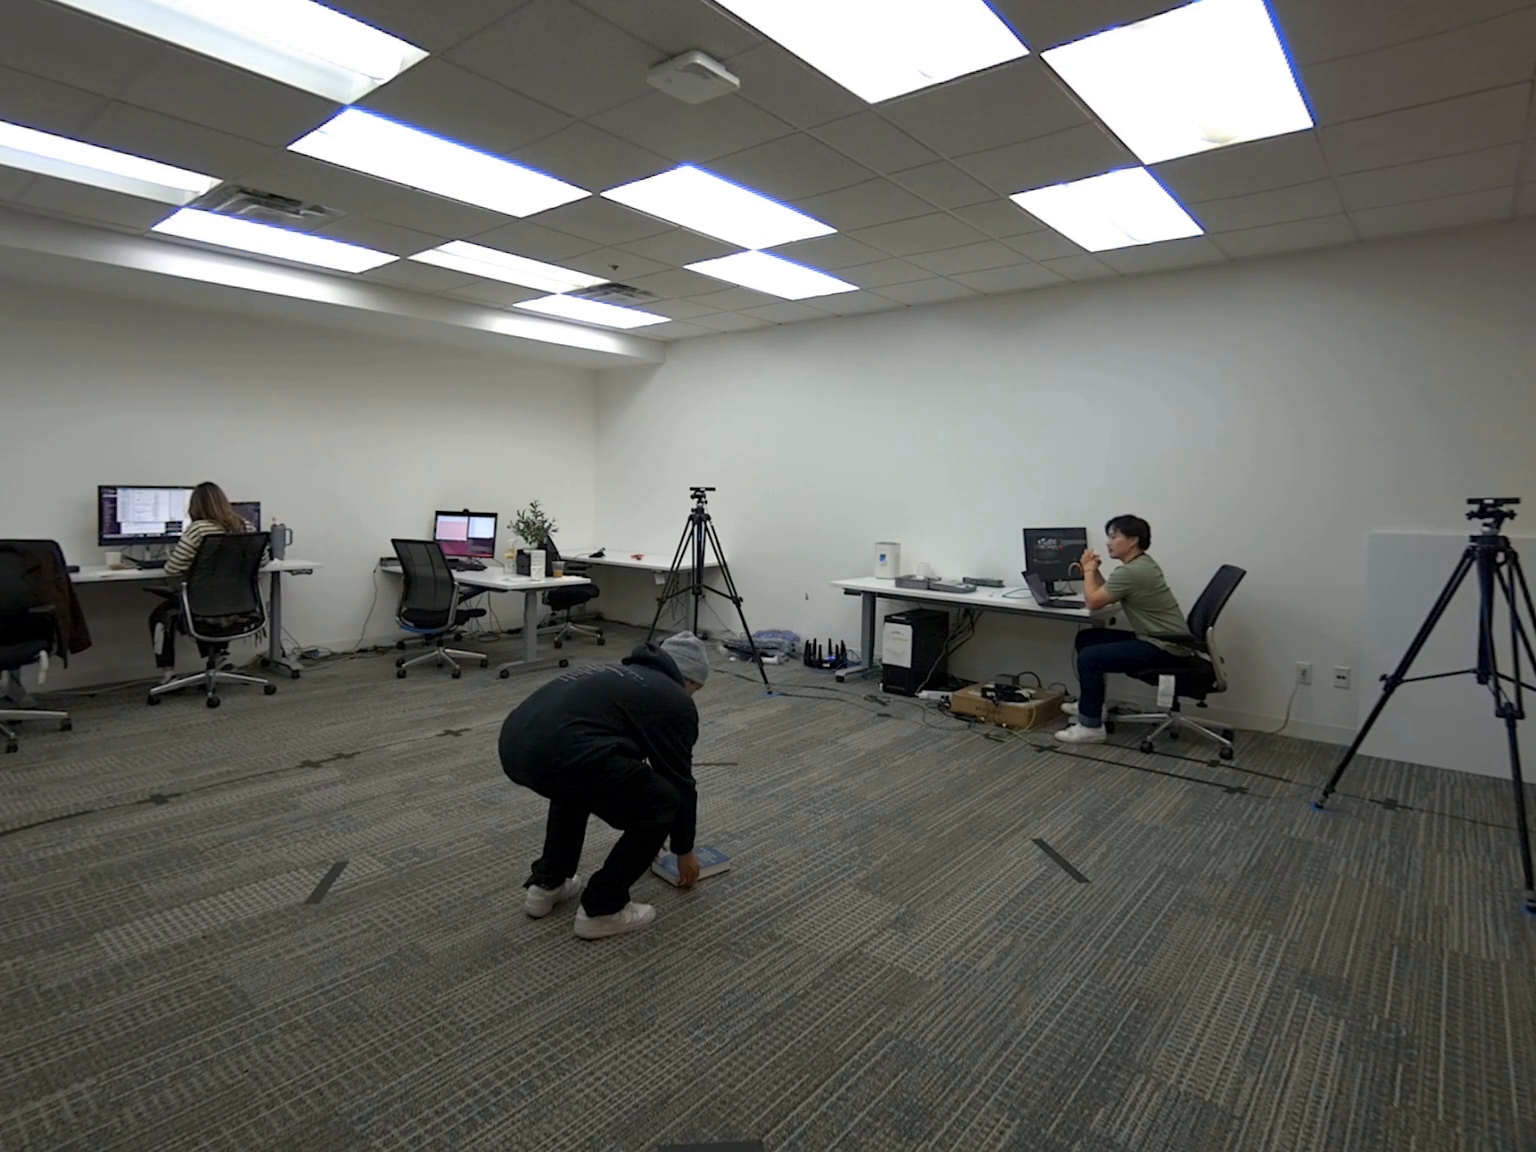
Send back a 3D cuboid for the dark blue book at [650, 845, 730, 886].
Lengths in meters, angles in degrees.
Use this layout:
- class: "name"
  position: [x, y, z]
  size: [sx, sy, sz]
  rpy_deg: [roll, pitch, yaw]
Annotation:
- class: "dark blue book"
  position: [-0.283, 1.048, 3.090]
  size: [0.238, 0.045, 0.169]
  rpy_deg: [-4, 7, -39]
